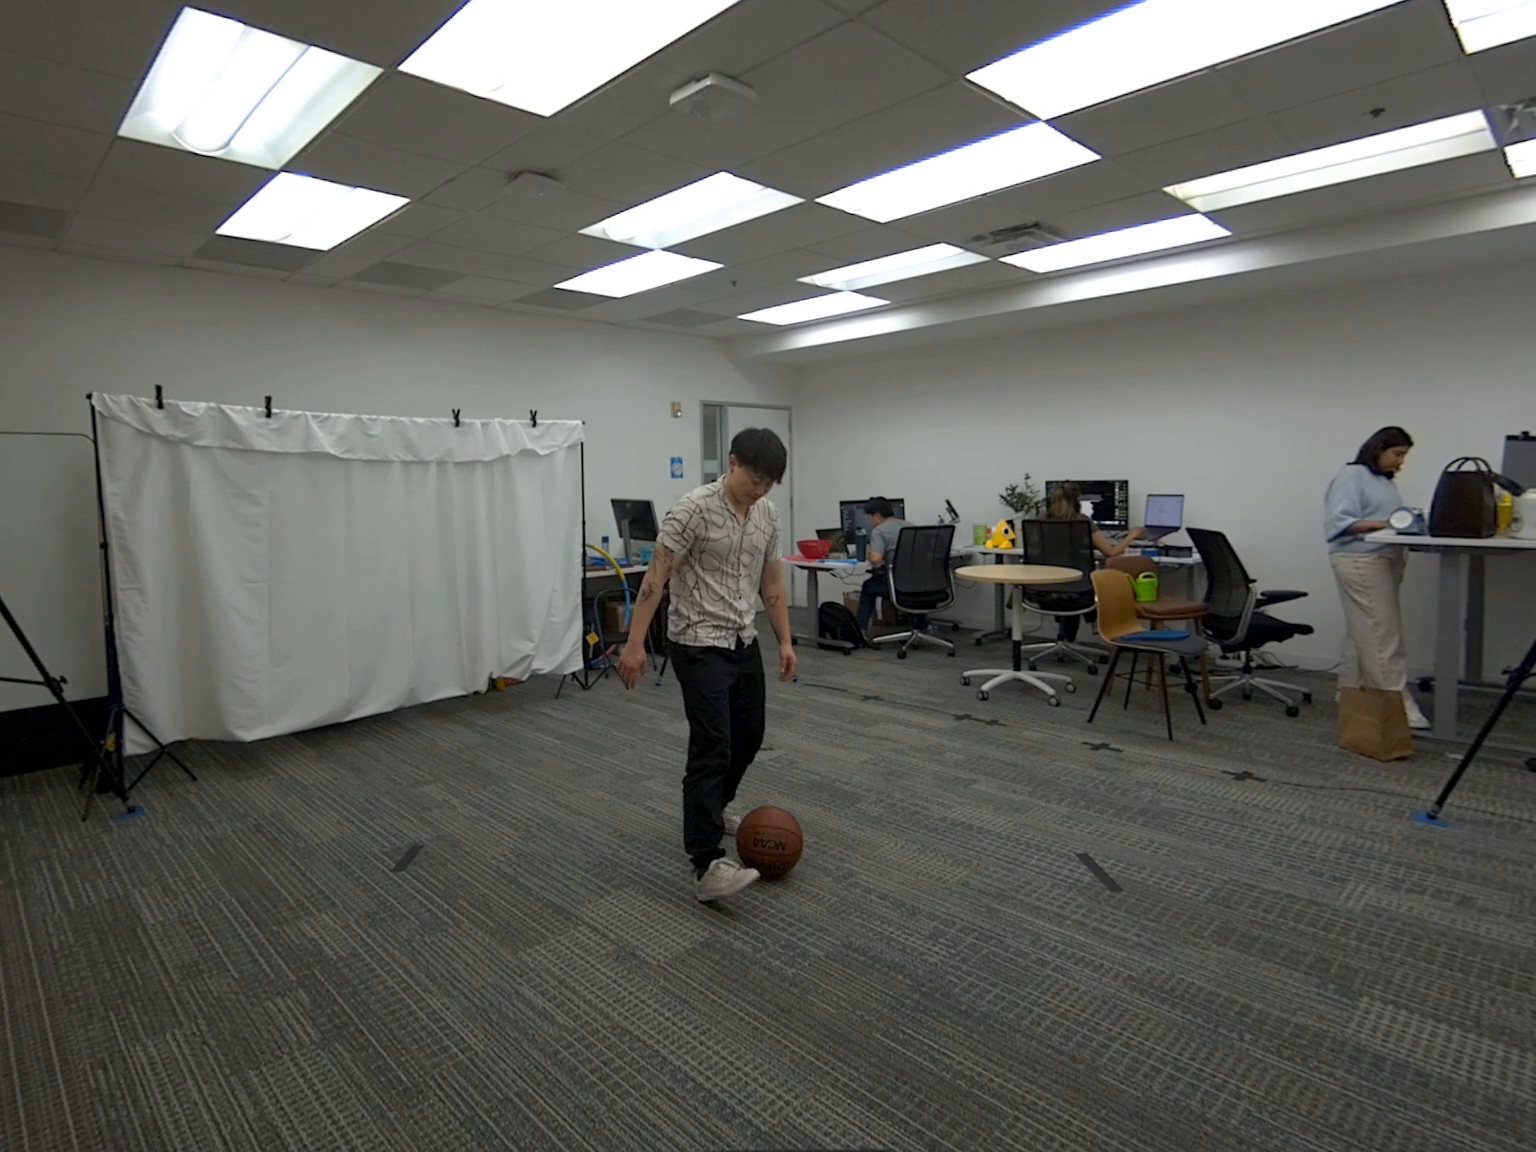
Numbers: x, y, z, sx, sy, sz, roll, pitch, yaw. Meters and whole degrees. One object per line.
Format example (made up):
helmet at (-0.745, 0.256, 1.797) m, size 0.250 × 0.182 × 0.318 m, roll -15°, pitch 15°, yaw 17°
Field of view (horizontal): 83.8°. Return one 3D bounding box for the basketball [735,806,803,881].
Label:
basketball at (0.007, 0.931, 3.023) m, size 0.236 × 0.235 × 0.237 m, roll -1°, pitch 5°, yaw -2°
